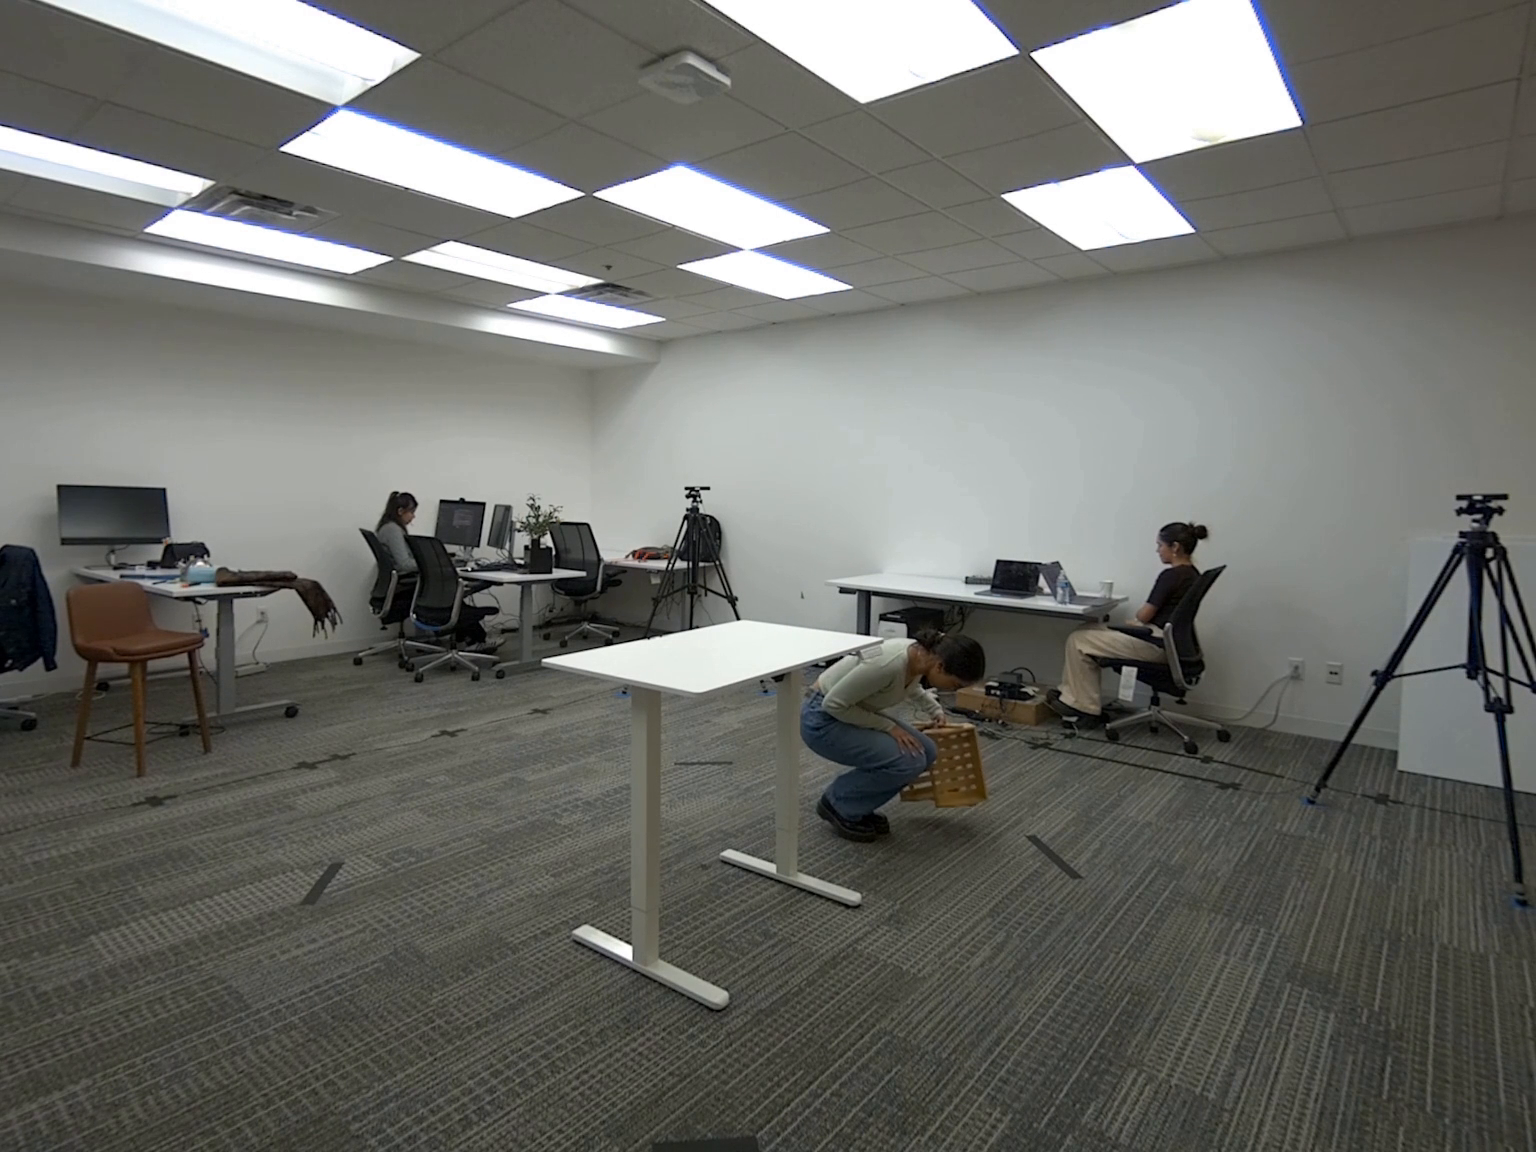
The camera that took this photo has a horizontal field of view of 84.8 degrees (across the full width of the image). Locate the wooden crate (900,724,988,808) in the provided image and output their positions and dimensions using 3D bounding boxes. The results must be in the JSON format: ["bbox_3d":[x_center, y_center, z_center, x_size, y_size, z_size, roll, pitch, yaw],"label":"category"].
[{"bbox_3d":[0.699,0.789,3.546,0.300,0.325,0.275,-9,-2,-9],"label":"wooden crate"}]
